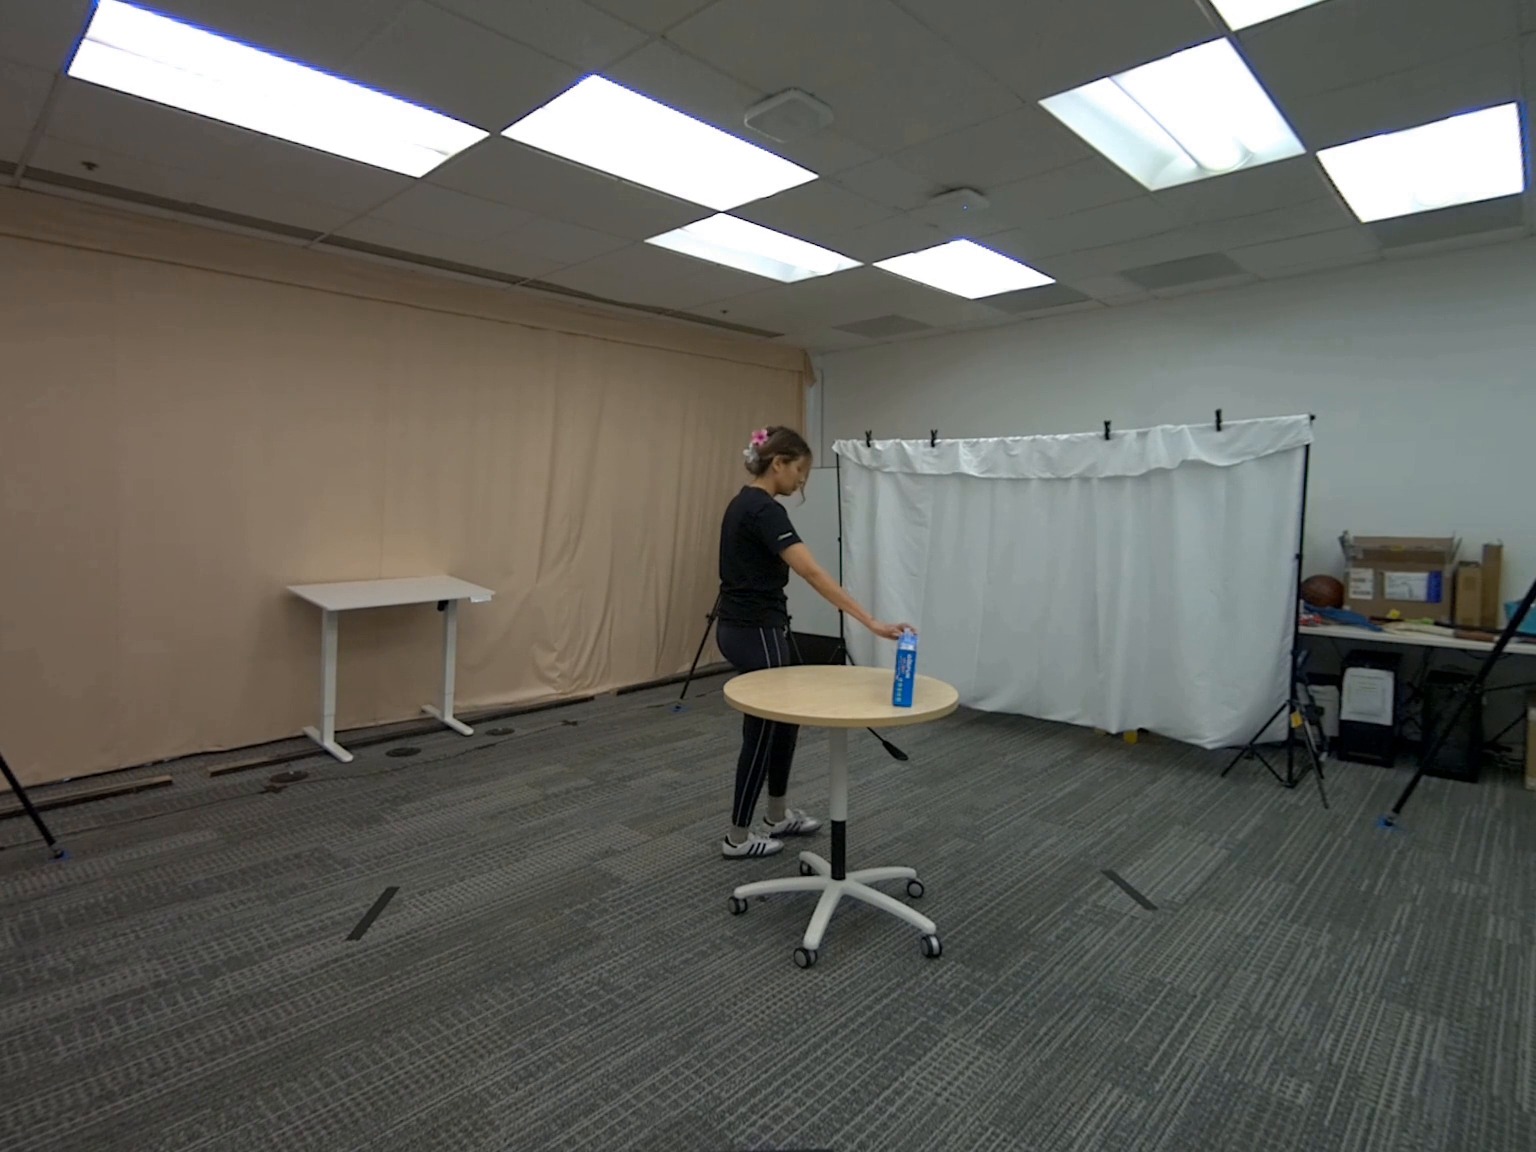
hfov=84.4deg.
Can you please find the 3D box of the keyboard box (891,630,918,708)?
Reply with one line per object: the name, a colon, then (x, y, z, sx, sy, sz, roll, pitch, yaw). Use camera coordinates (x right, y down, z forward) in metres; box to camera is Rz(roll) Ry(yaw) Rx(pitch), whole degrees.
keyboard box: (0.451, 0.287, 2.749, 0.060, 0.175, 0.432, 4, 6, 11)
